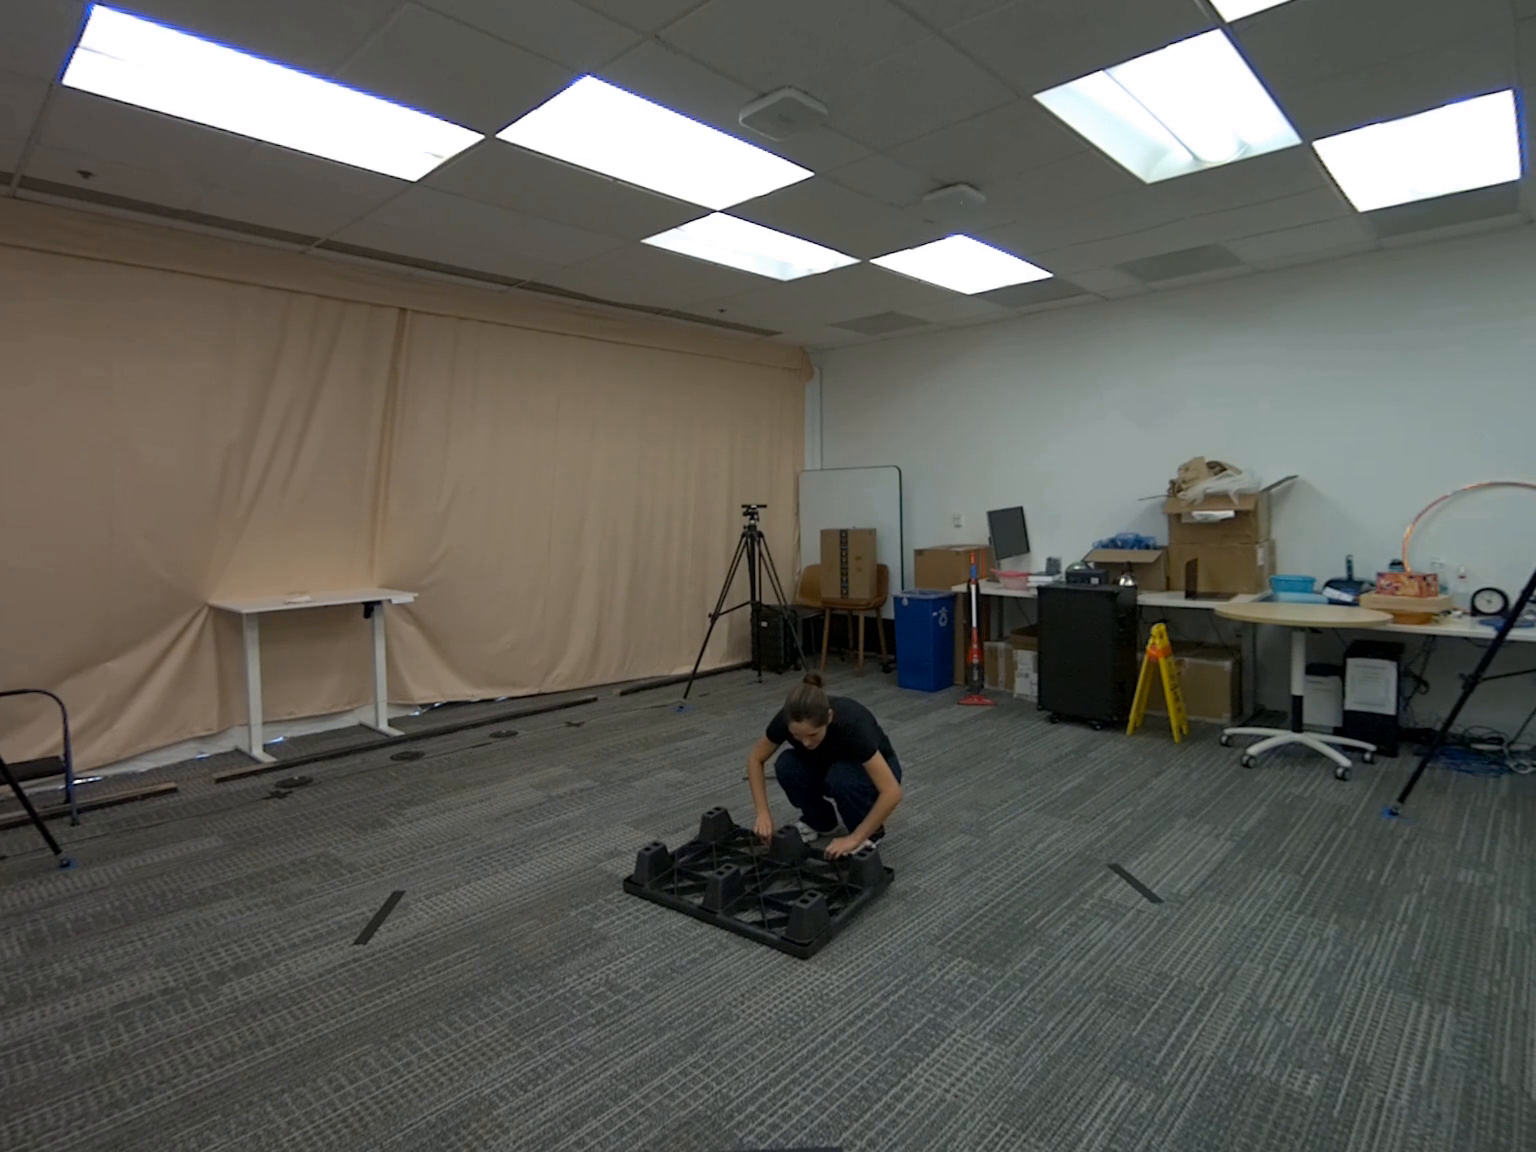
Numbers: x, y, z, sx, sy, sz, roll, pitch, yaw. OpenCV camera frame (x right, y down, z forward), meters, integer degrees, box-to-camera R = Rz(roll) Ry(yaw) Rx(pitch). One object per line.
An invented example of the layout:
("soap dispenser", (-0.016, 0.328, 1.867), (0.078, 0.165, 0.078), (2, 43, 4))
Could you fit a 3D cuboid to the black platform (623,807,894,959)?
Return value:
("black platform", (-0.023, 1.049, 3.034), (0.831, 0.142, 0.589), (3, 10, 37))
